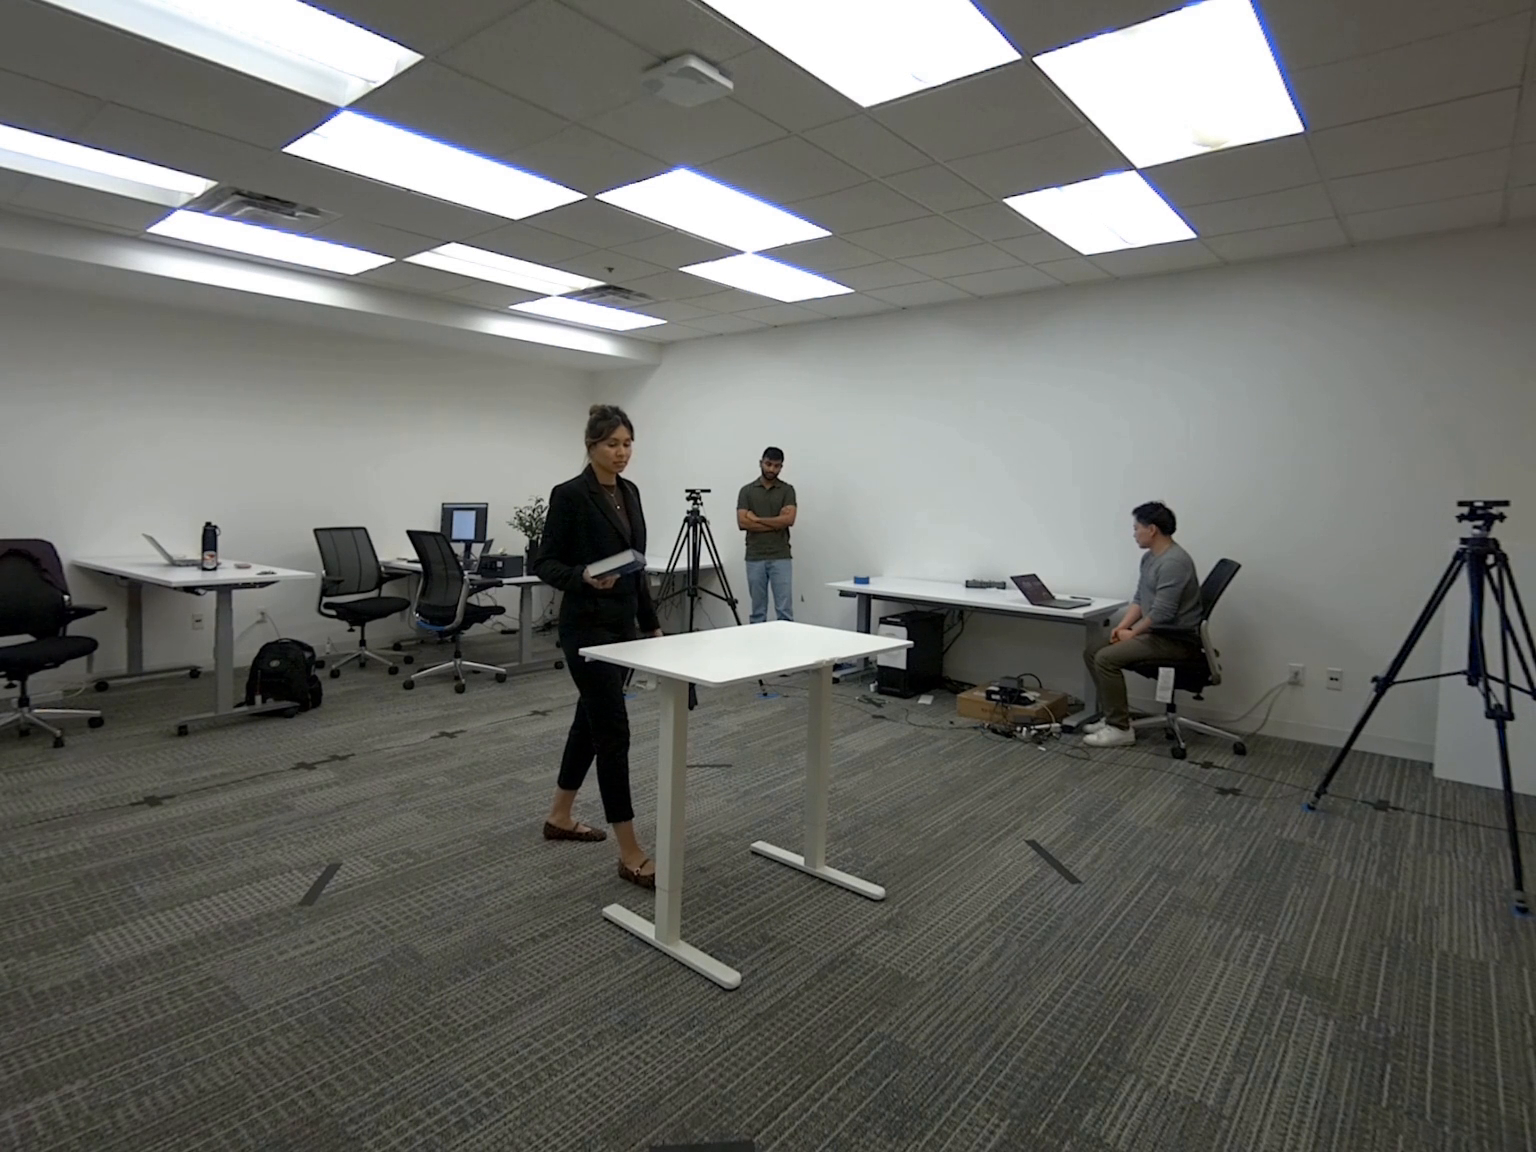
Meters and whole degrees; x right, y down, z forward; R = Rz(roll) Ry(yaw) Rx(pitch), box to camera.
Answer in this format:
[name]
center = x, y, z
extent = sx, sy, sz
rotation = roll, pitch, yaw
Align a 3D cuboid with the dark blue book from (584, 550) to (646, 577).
[dark blue book]
center = -0.518, -0.035, 2.846
extent = 0.163, 0.045, 0.243
rotation = -21, -3, 0
